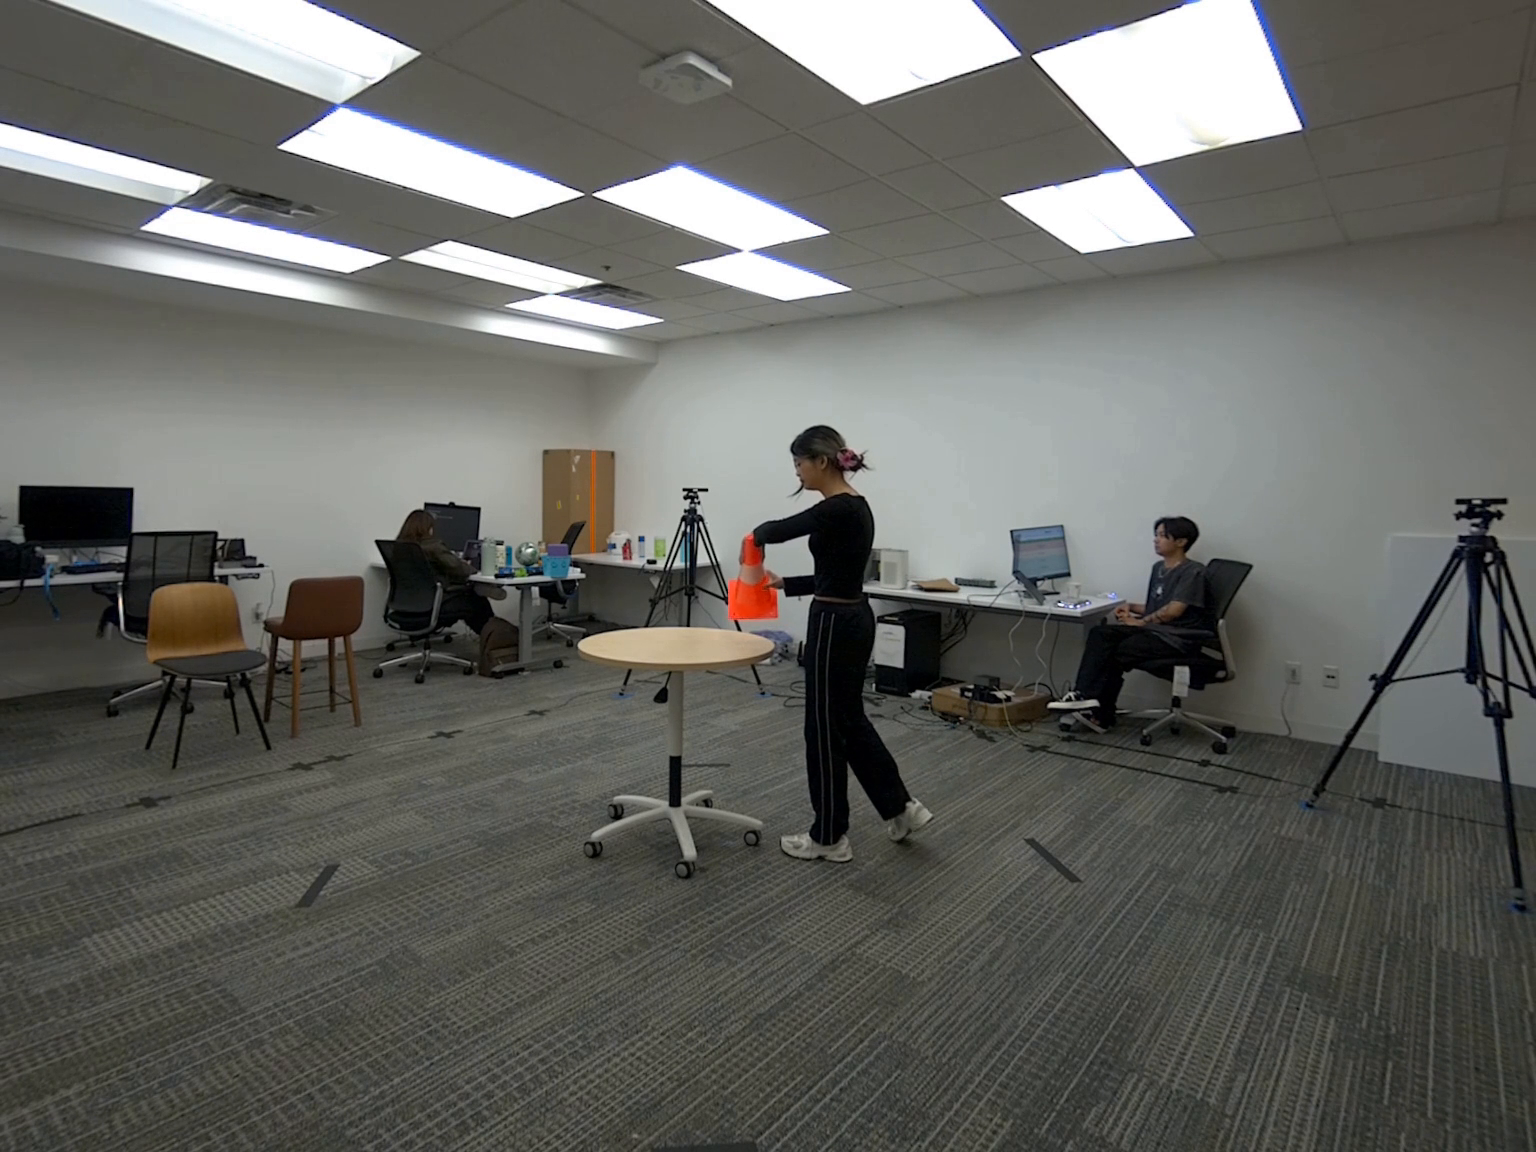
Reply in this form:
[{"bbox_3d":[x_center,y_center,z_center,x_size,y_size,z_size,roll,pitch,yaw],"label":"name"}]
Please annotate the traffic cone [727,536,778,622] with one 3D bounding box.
[{"bbox_3d":[-0.070,-0.029,3.310,0.203,0.211,0.373,-3,-42,-3],"label":"traffic cone"}]
